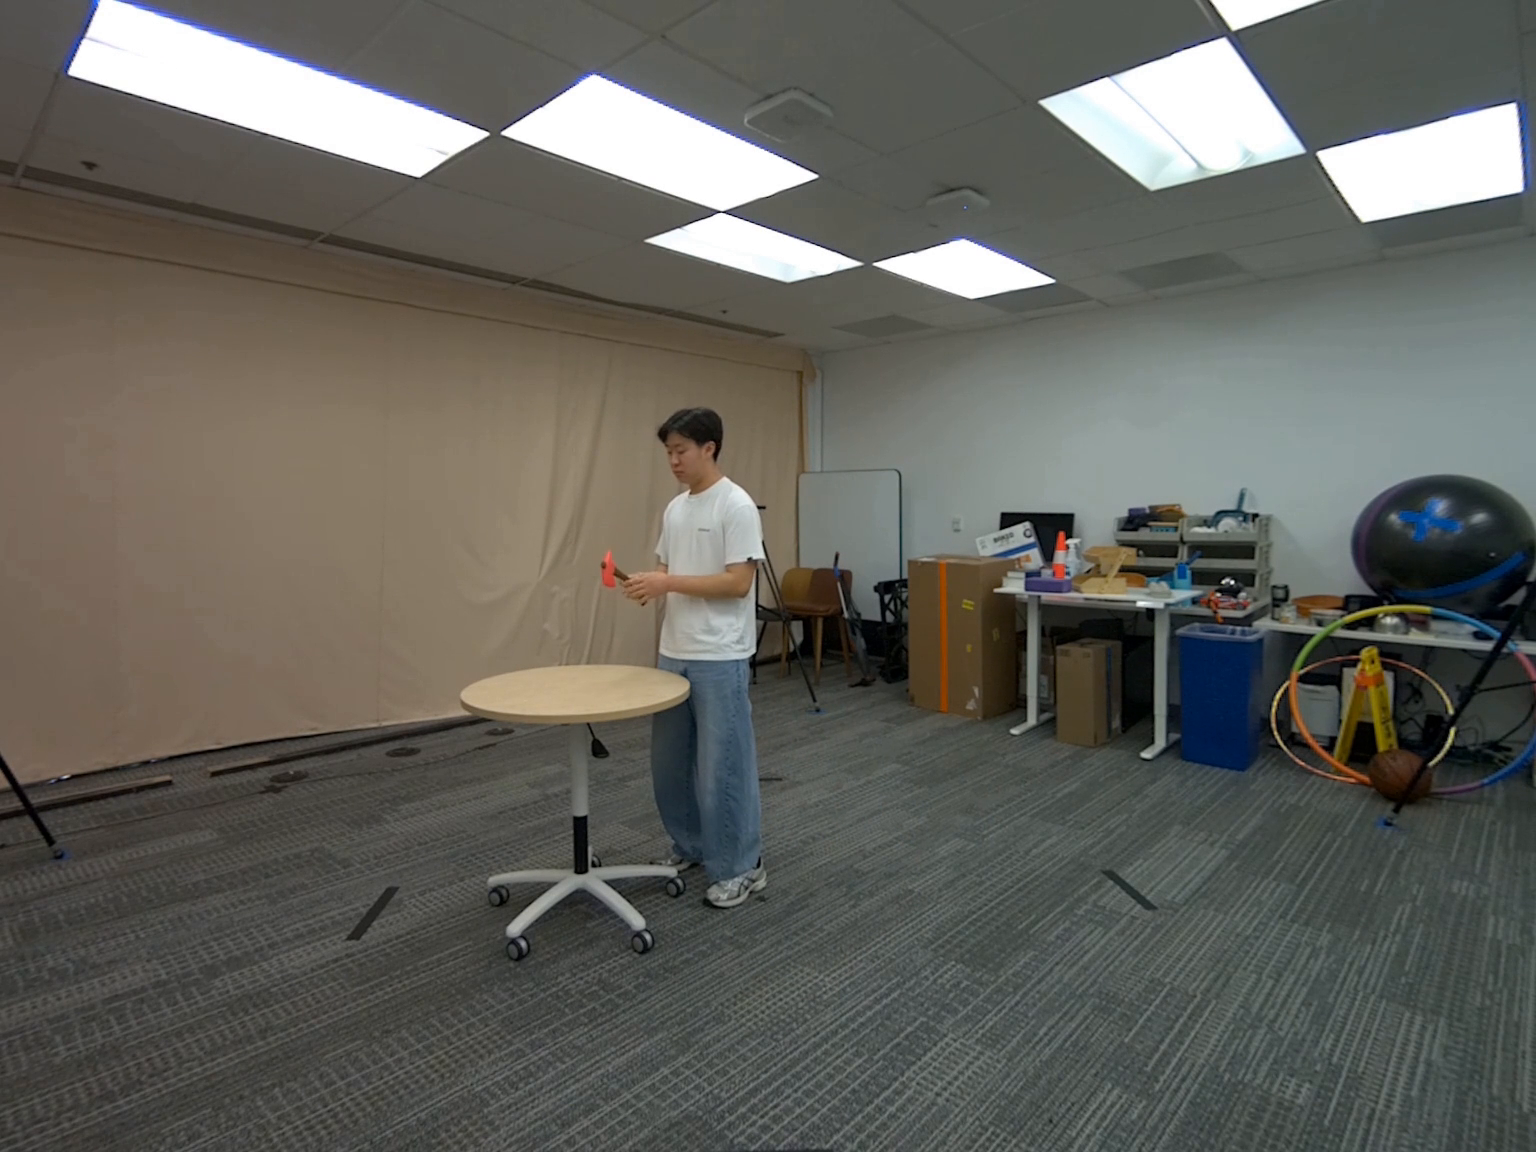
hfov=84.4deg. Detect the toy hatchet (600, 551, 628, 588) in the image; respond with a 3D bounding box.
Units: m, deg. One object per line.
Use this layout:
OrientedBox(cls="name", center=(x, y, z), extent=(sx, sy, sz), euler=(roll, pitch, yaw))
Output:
OrientedBox(cls="toy hatchet", center=(-0.508, 0.031, 2.967), extent=(0.030, 0.261, 0.132), euler=(-11, 43, 24))
